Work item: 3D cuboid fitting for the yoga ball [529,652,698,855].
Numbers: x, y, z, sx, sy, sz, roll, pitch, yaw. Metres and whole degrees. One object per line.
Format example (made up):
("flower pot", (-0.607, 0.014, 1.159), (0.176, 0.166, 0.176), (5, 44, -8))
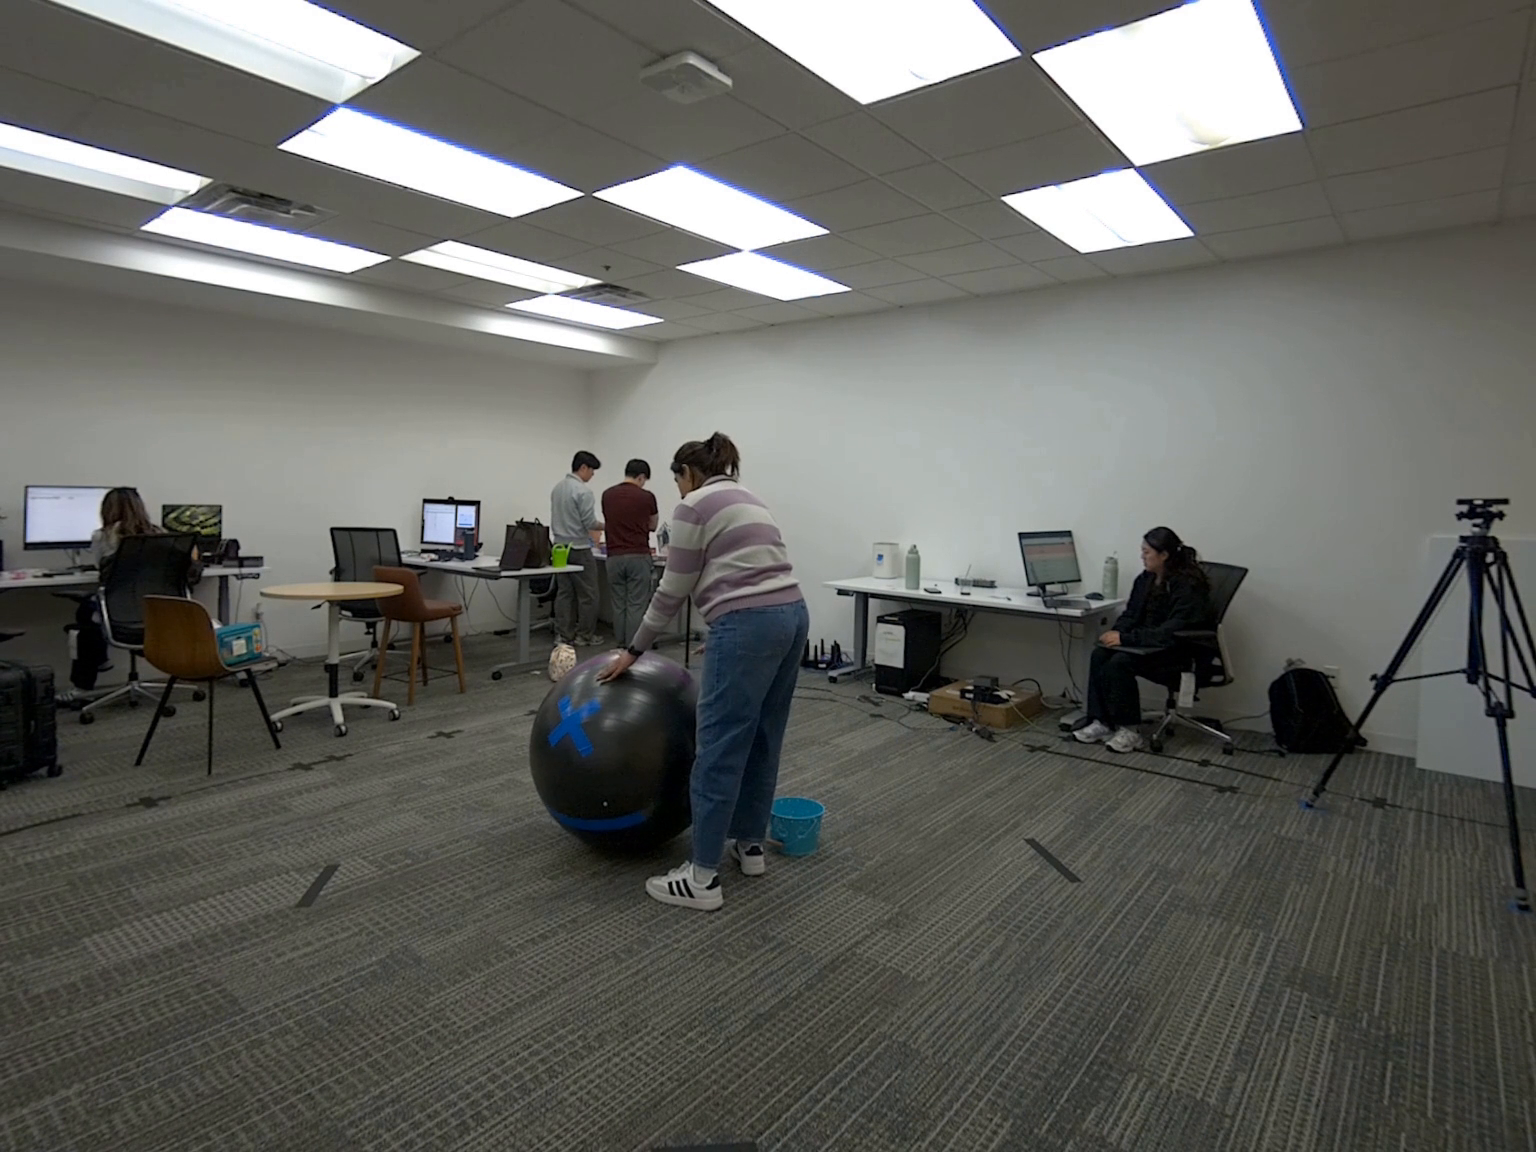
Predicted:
("yoga ball", (-0.568, 0.674, 3.325), (0.757, 0.756, 0.762), (1, 4, -2))
